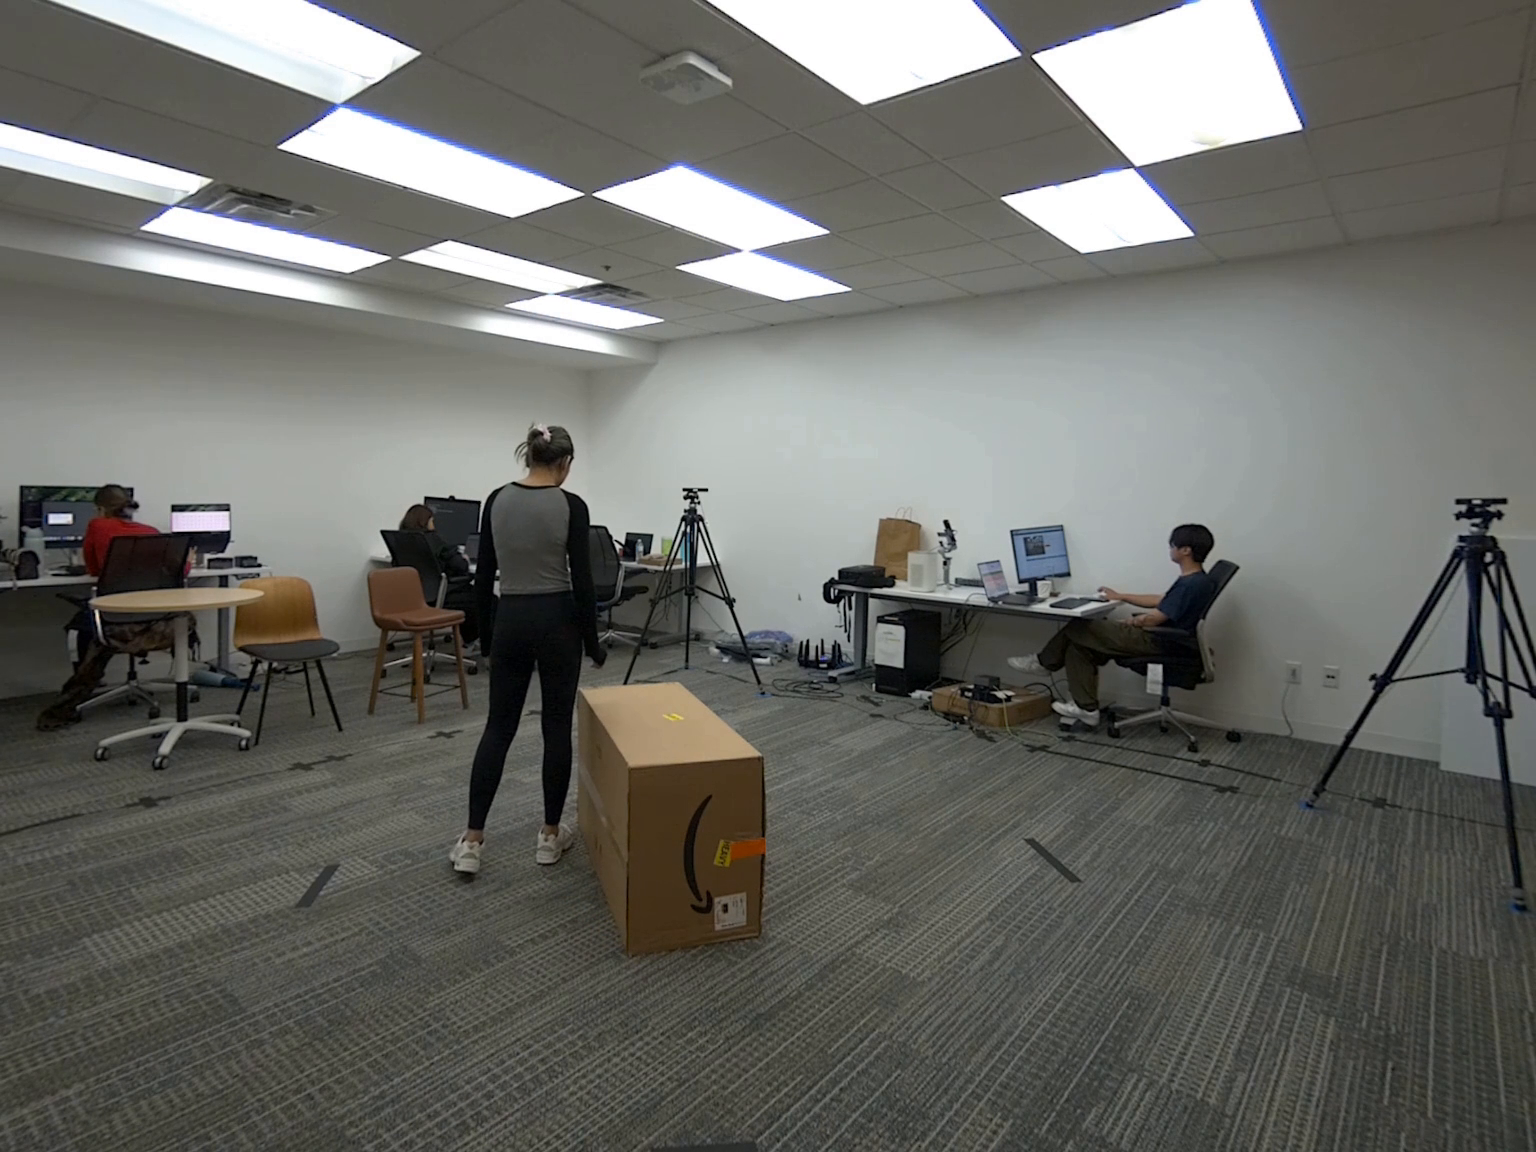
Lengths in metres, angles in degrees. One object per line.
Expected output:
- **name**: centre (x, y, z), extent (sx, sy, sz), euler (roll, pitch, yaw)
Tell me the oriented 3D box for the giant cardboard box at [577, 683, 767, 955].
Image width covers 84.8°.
- **giant cardboard box**: centre (-0.399, 0.783, 3.043), extent (0.418, 0.575, 1.050), euler (-1, 5, -20)
